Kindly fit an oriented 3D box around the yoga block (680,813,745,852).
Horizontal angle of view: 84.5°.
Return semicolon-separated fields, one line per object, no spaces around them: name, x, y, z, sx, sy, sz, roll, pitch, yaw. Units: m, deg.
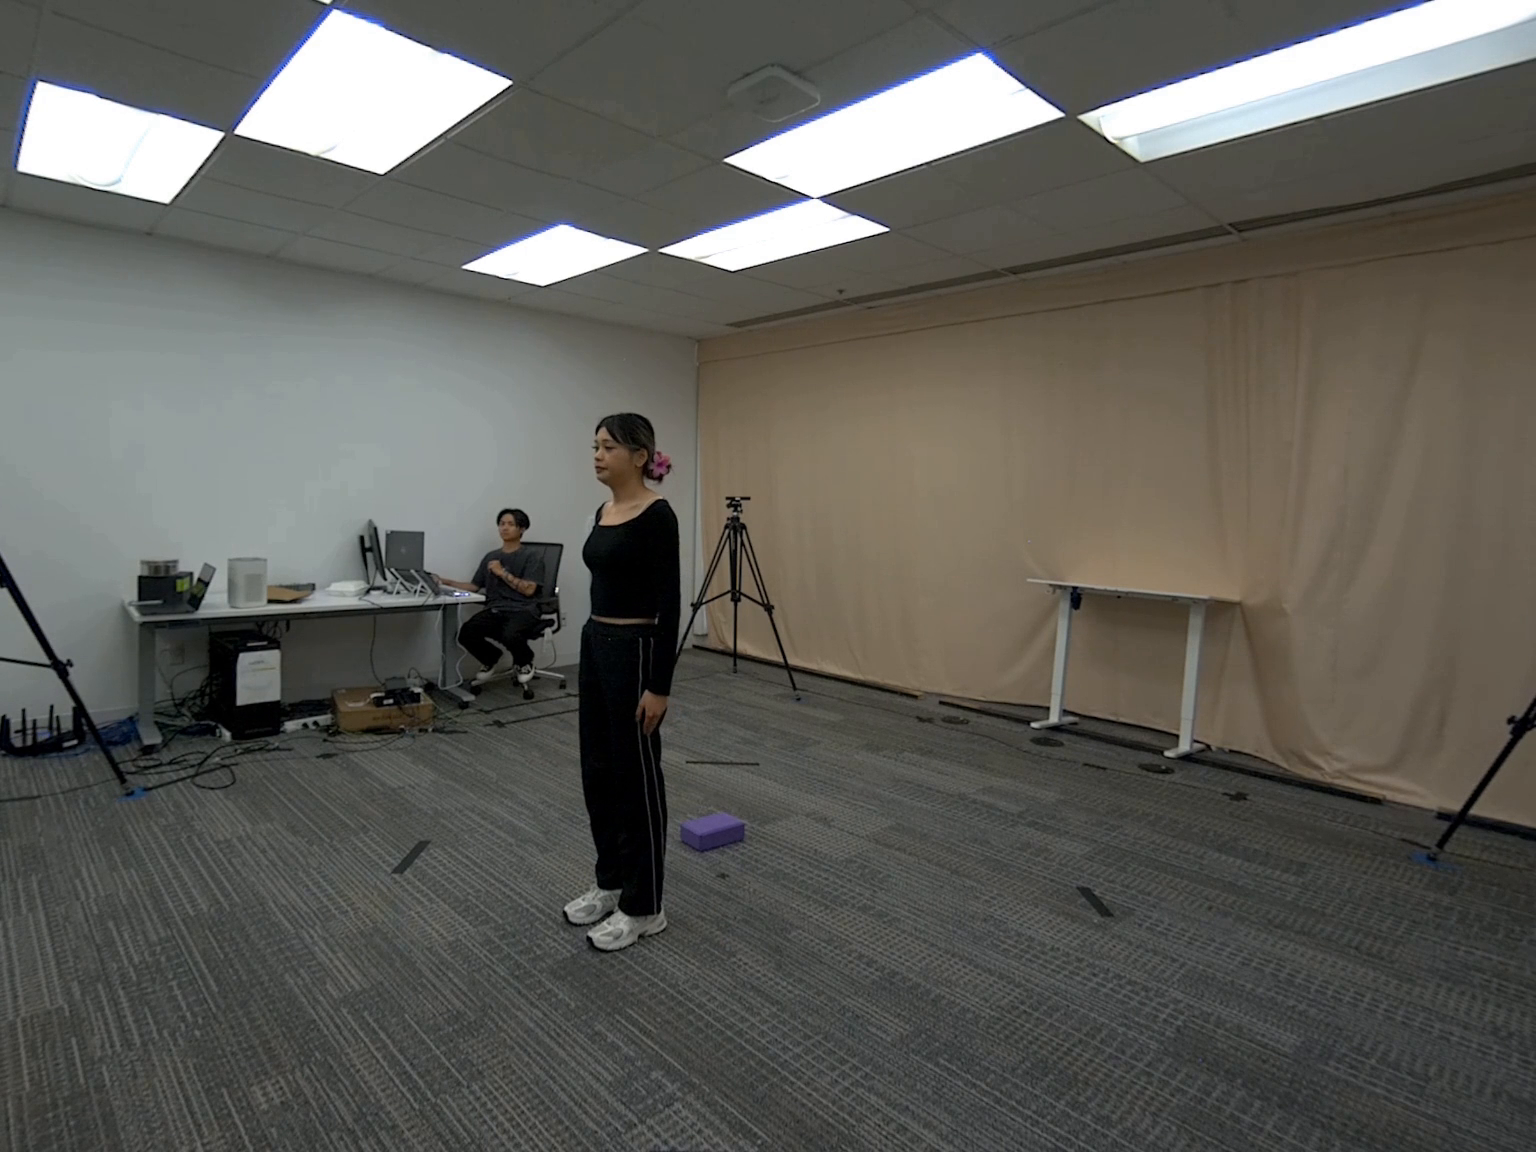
yoga block;-0.234;1.039;3.423;0.224;0.076;0.153;-3;6;-40
